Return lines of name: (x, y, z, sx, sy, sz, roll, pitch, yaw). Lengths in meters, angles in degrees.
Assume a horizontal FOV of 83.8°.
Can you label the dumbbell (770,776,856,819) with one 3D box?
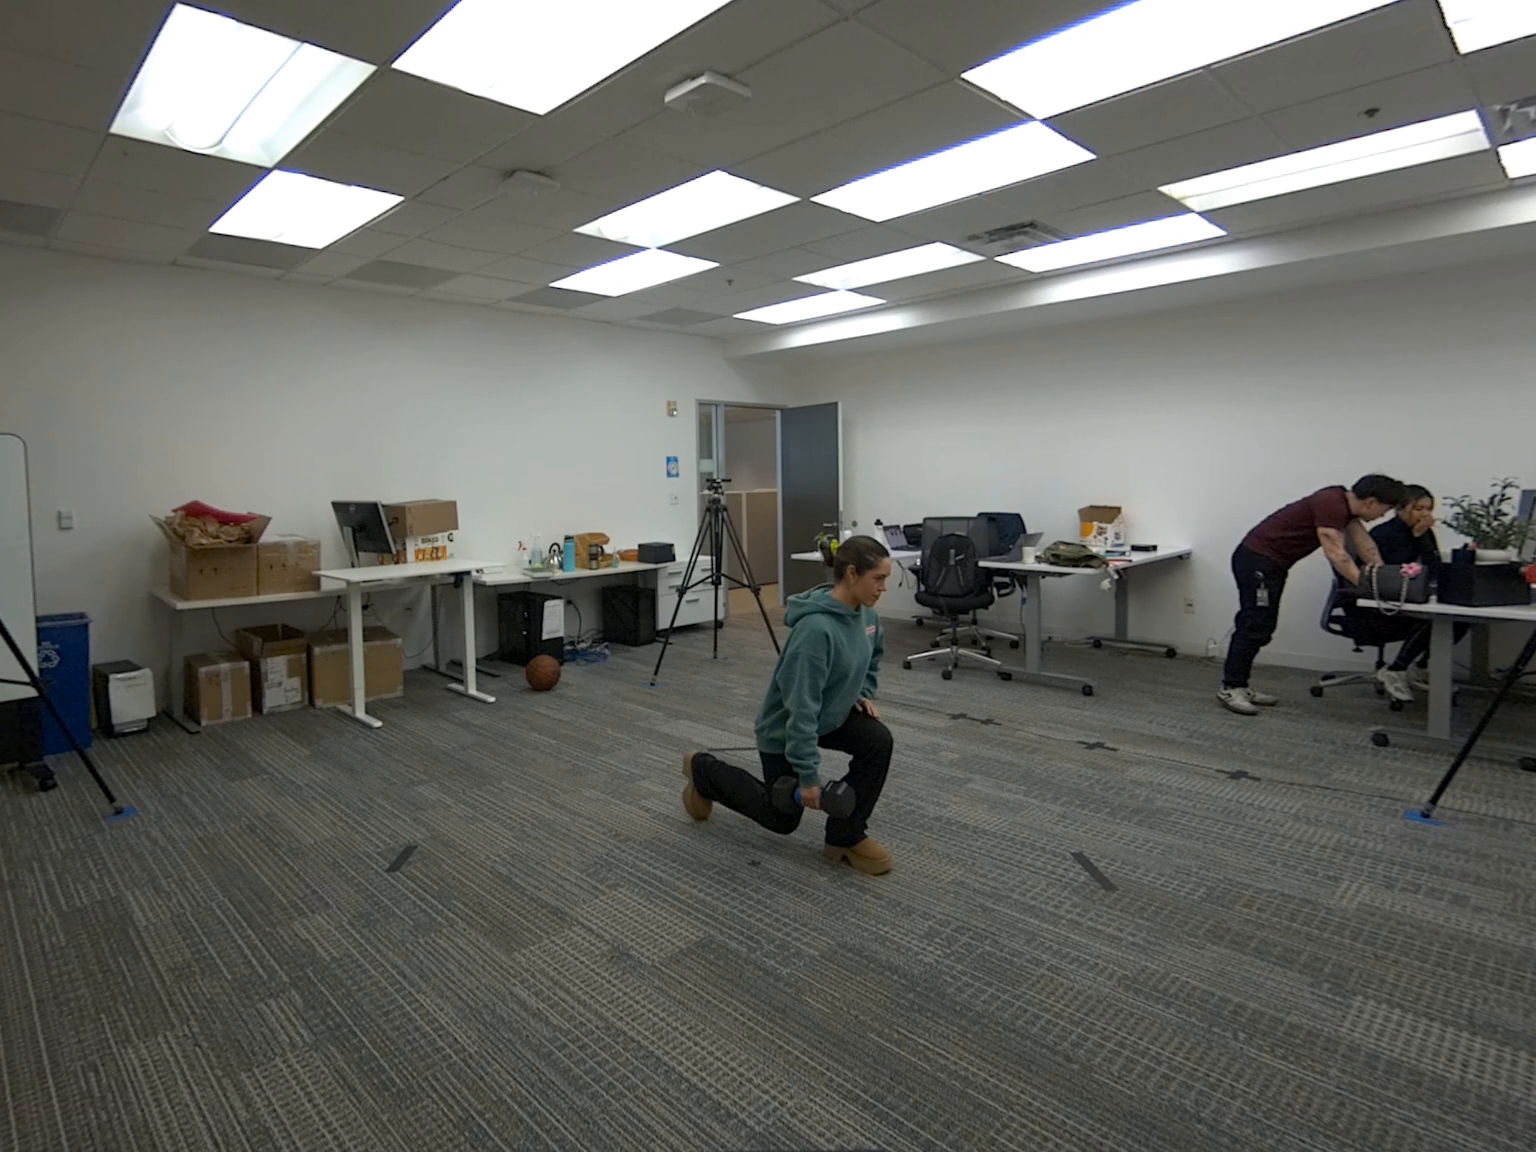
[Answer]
dumbbell: (0.158, 0.762, 2.973, 0.301, 0.110, 0.118, -7, -38, 40)
